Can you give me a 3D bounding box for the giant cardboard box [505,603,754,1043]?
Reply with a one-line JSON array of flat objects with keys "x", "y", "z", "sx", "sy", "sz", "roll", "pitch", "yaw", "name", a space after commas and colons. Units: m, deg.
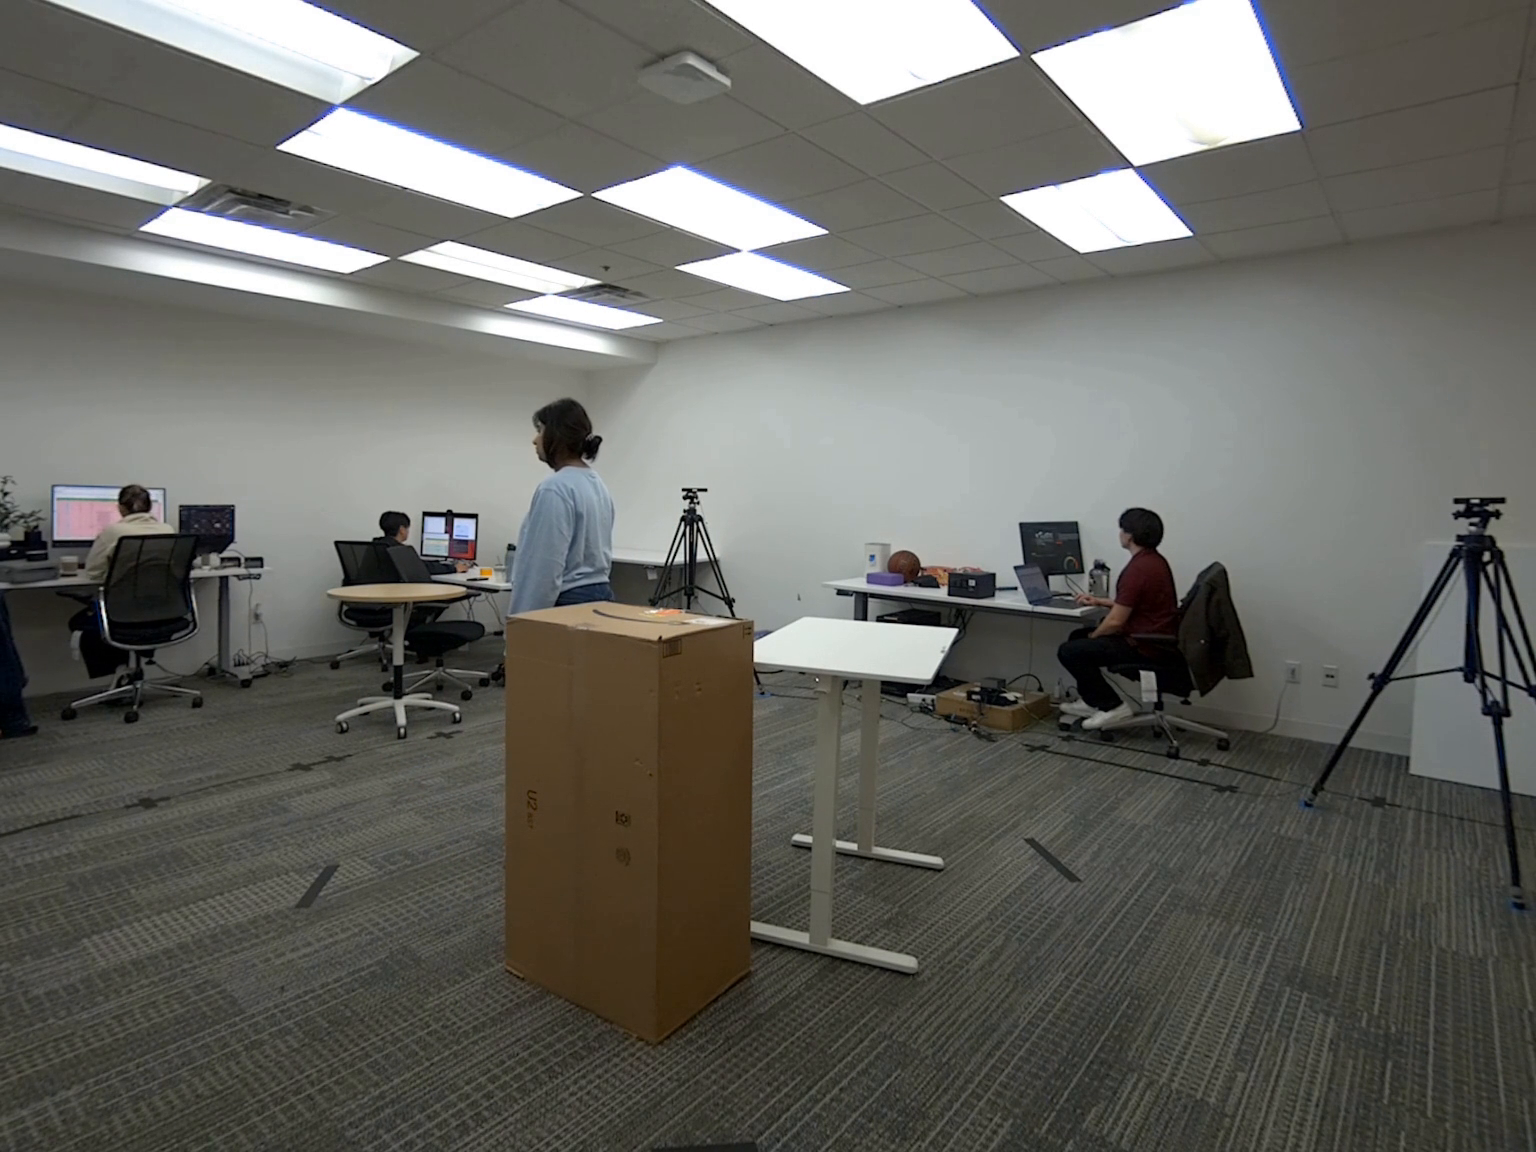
[{"x": -0.402, "y": 0.626, "z": 2.429, "sx": 0.596, "sy": 1.023, "sz": 0.414, "roll": 3, "pitch": 4, "yaw": 34, "name": "giant cardboard box"}]
